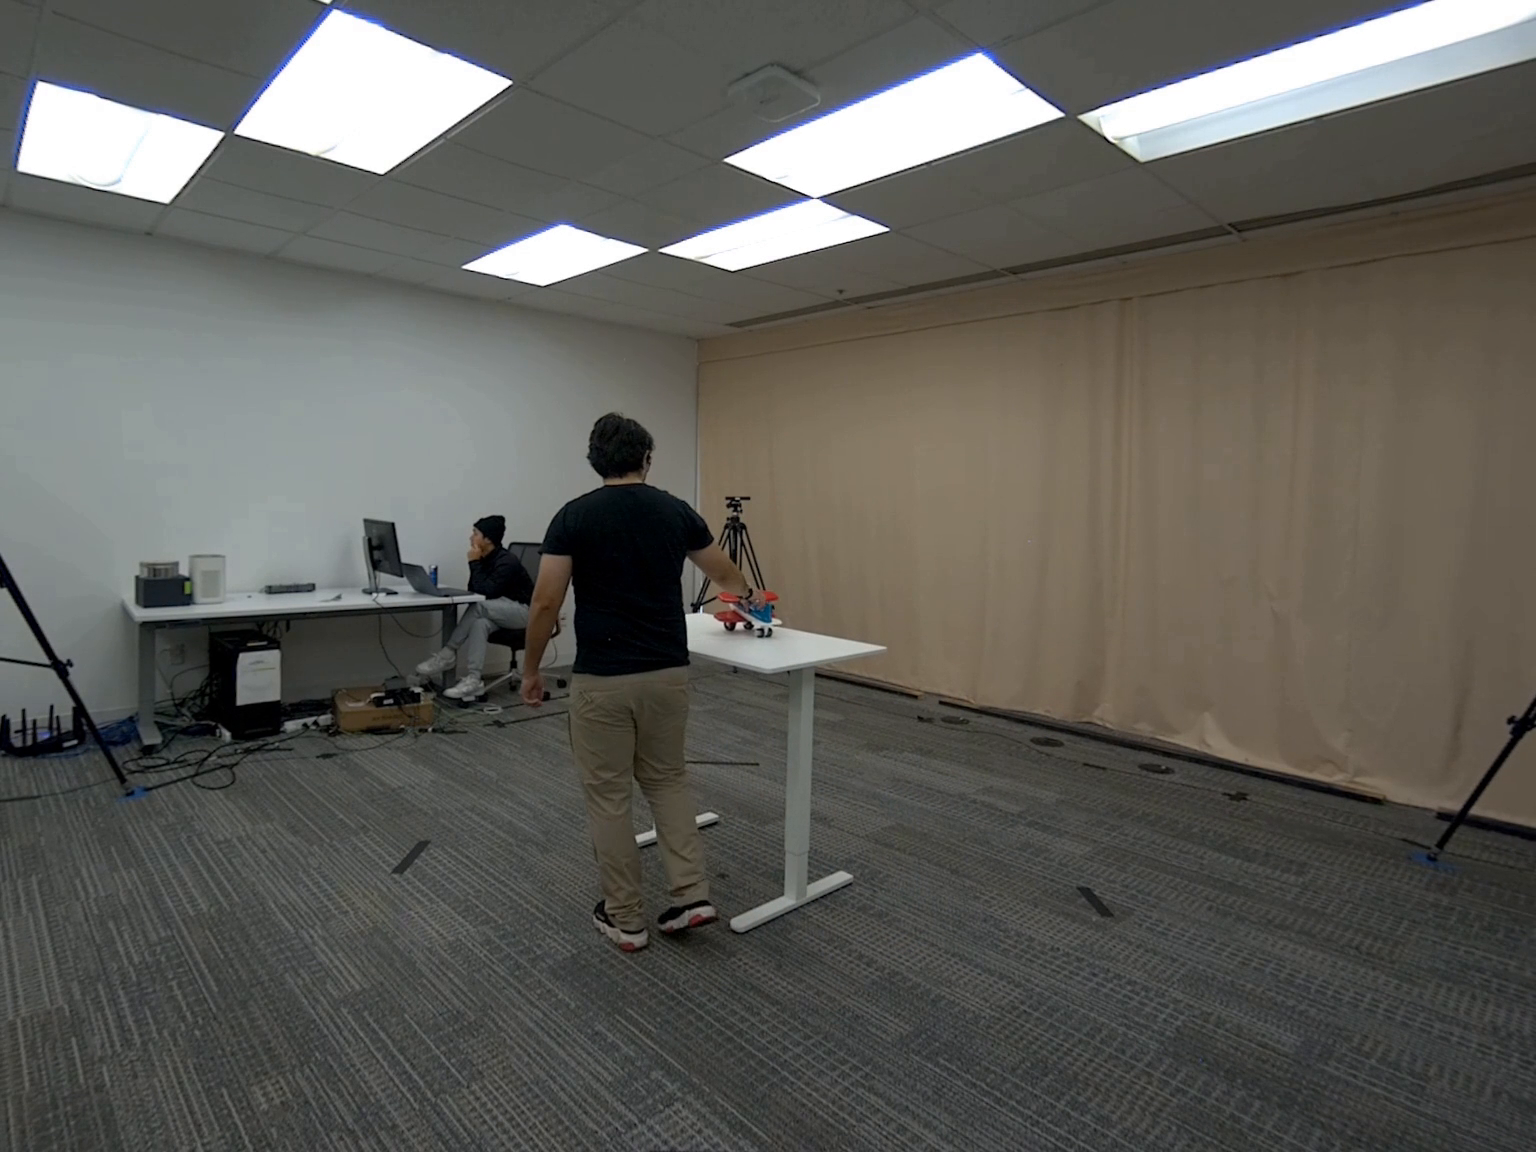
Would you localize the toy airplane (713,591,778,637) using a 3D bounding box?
[{"bbox_3d":[-0.061,0.140,3.188,0.265,0.156,0.246,3,6,31],"label":"toy airplane"}]
